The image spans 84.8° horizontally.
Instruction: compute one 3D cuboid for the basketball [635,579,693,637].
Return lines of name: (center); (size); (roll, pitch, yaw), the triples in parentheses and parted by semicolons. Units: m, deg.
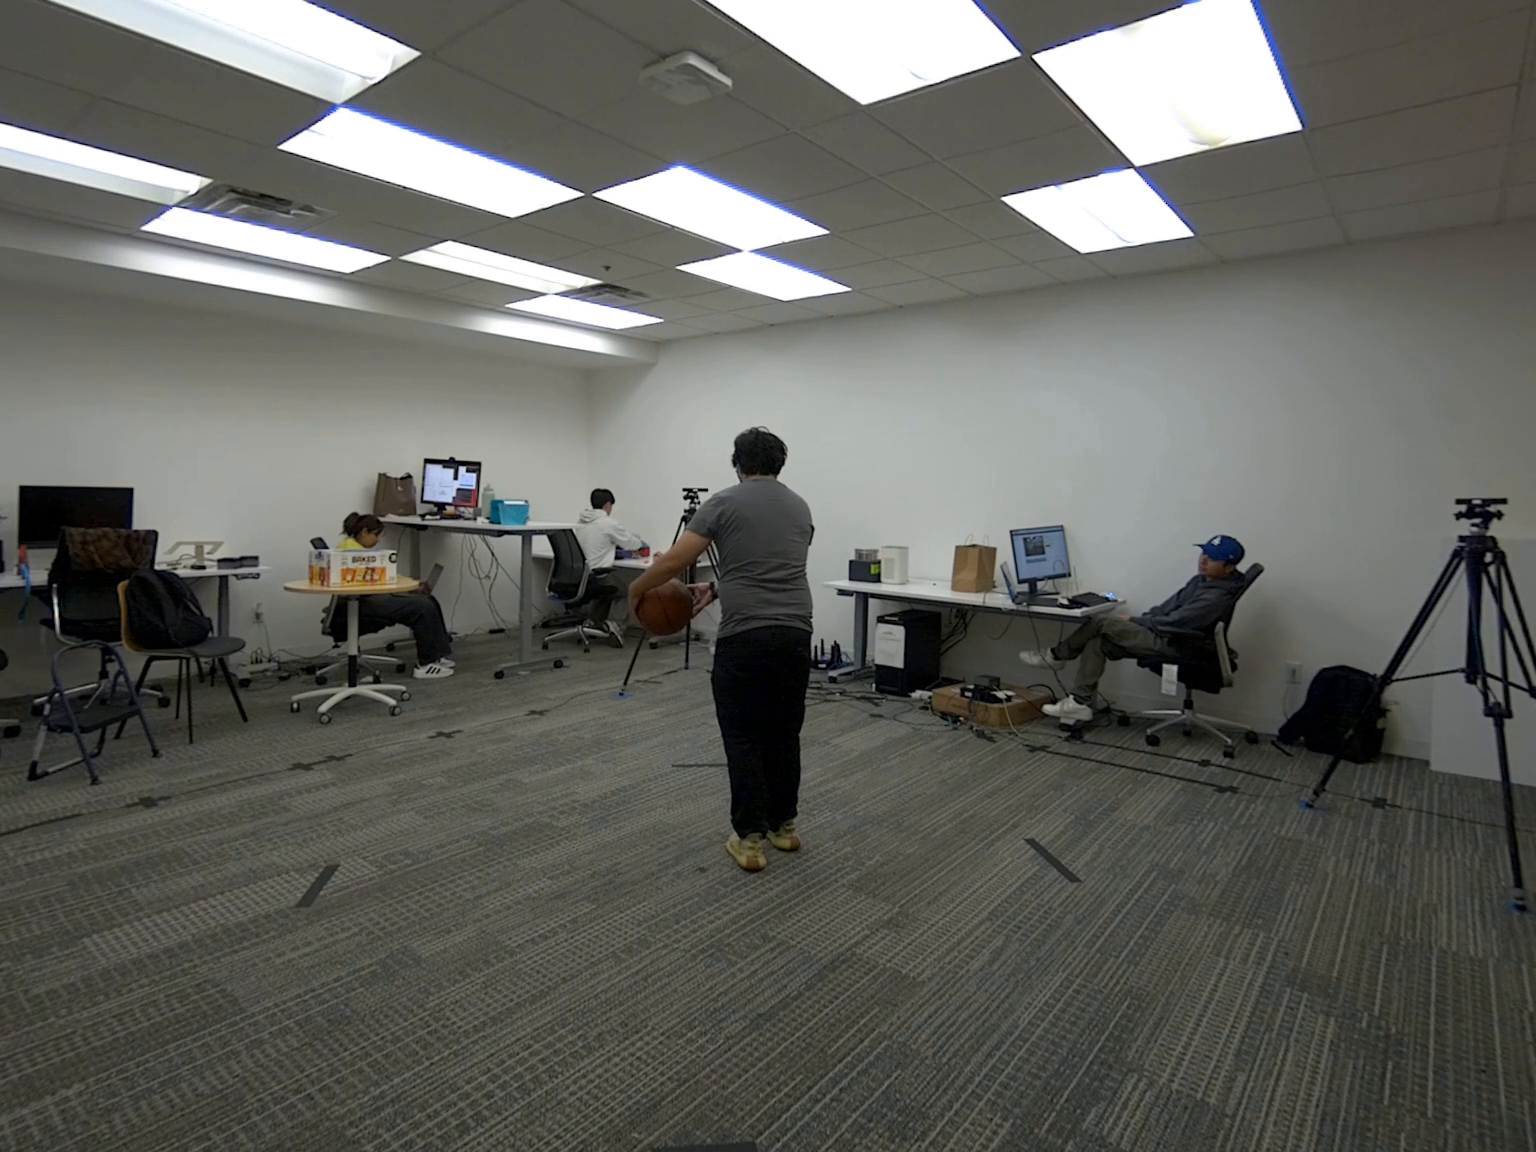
basketball: (-0.427, 0.117, 3.427); (0.235, 0.235, 0.237); (1, 4, -2)
